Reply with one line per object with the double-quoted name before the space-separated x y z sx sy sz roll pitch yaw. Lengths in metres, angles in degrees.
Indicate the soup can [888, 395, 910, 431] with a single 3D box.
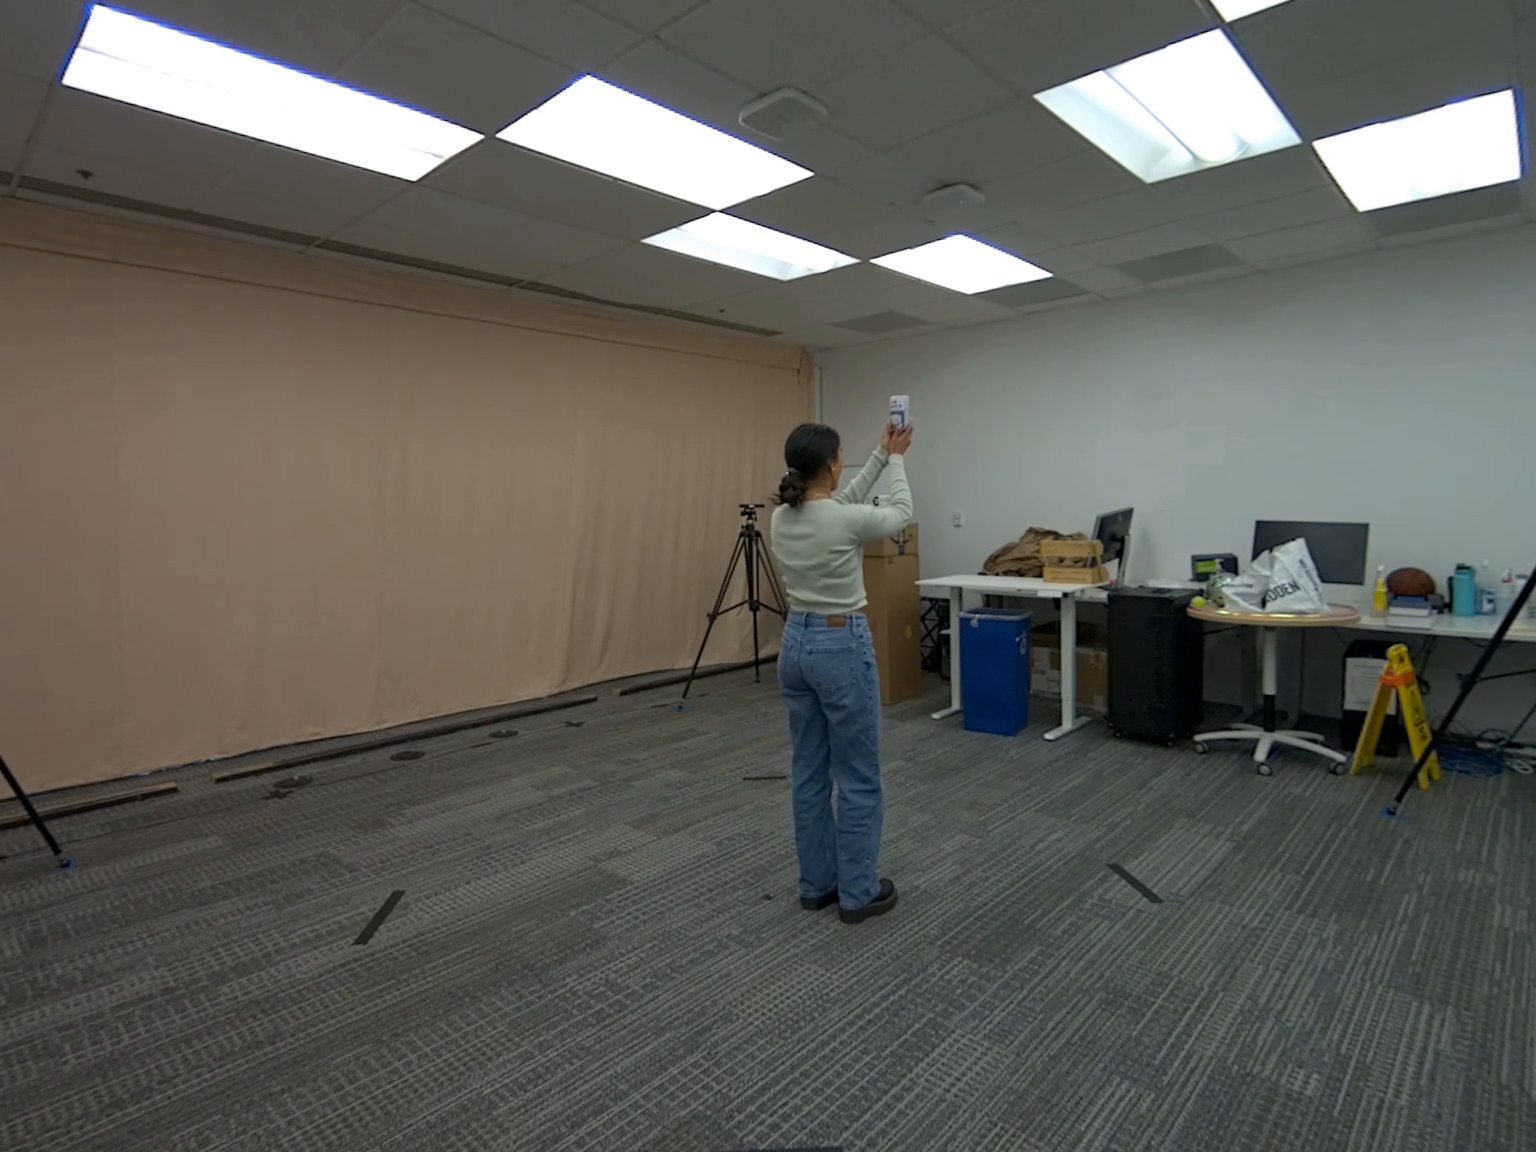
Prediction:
"soup can" 0.475 -0.583 3.018 0.067 0.121 0.067 -1 8 -2
